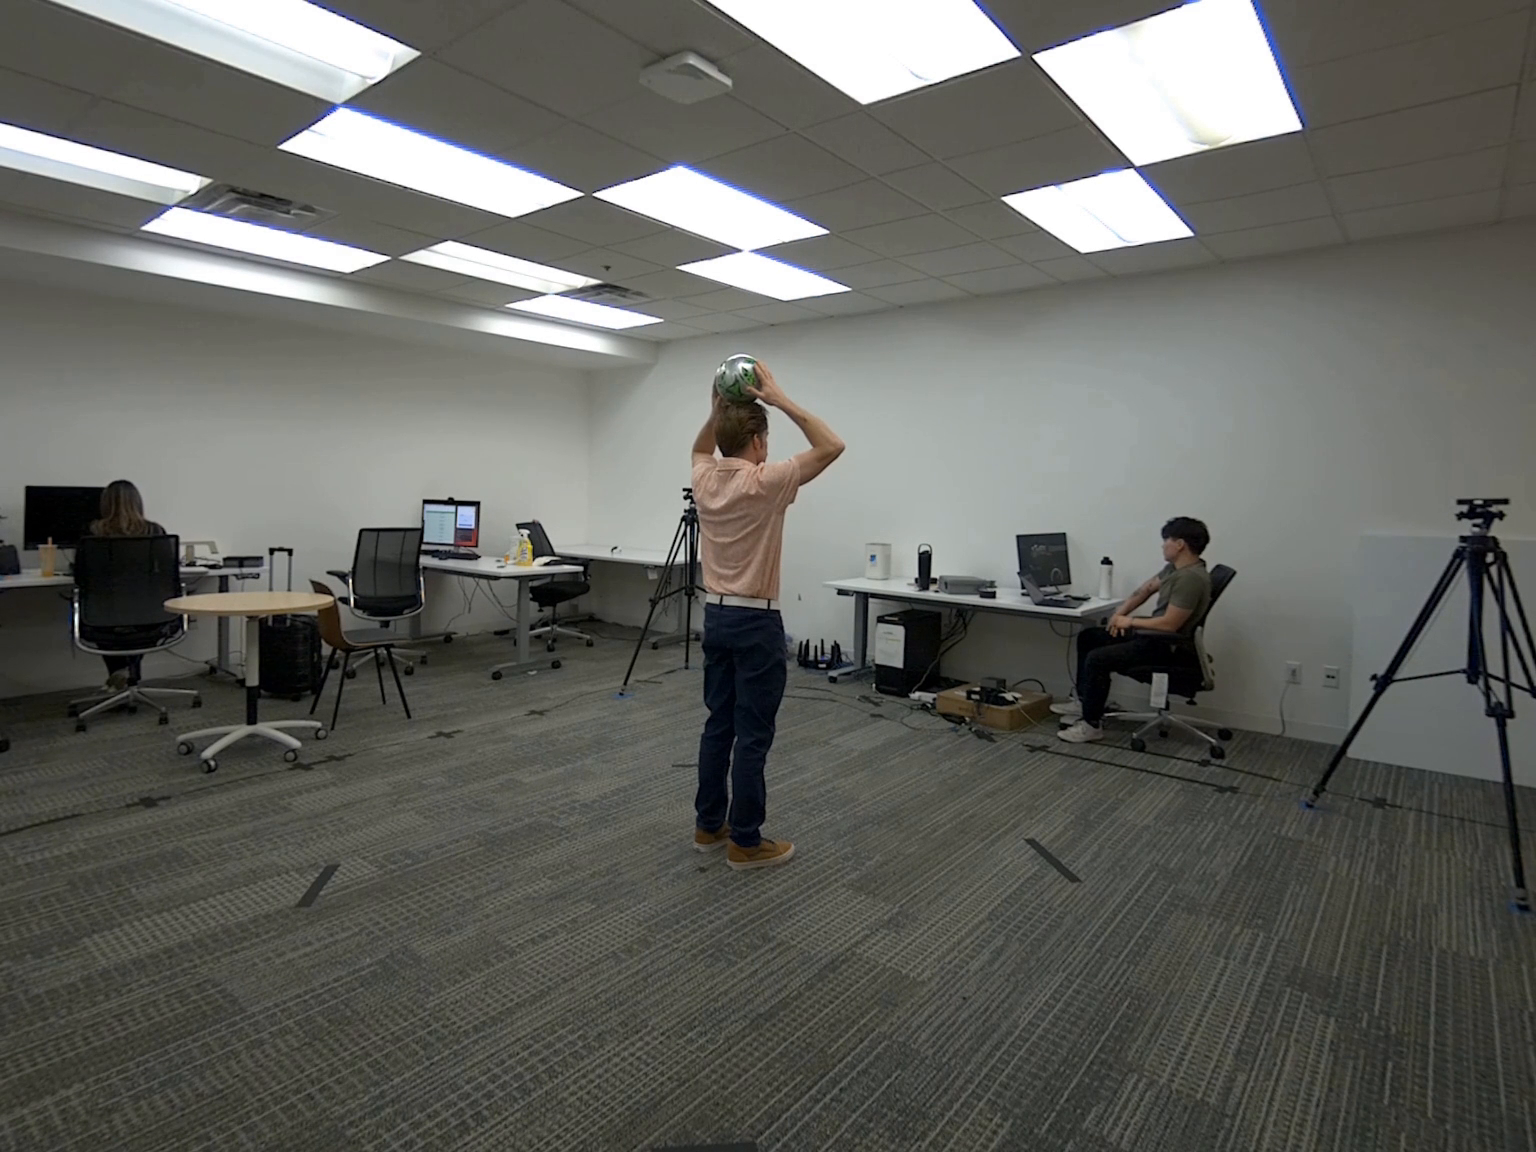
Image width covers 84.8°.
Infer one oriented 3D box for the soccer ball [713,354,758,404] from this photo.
[{"bbox_3d":[-0.115,-0.727,3.181,0.187,0.187,0.188,1,4,-2],"label":"soccer ball"}]
